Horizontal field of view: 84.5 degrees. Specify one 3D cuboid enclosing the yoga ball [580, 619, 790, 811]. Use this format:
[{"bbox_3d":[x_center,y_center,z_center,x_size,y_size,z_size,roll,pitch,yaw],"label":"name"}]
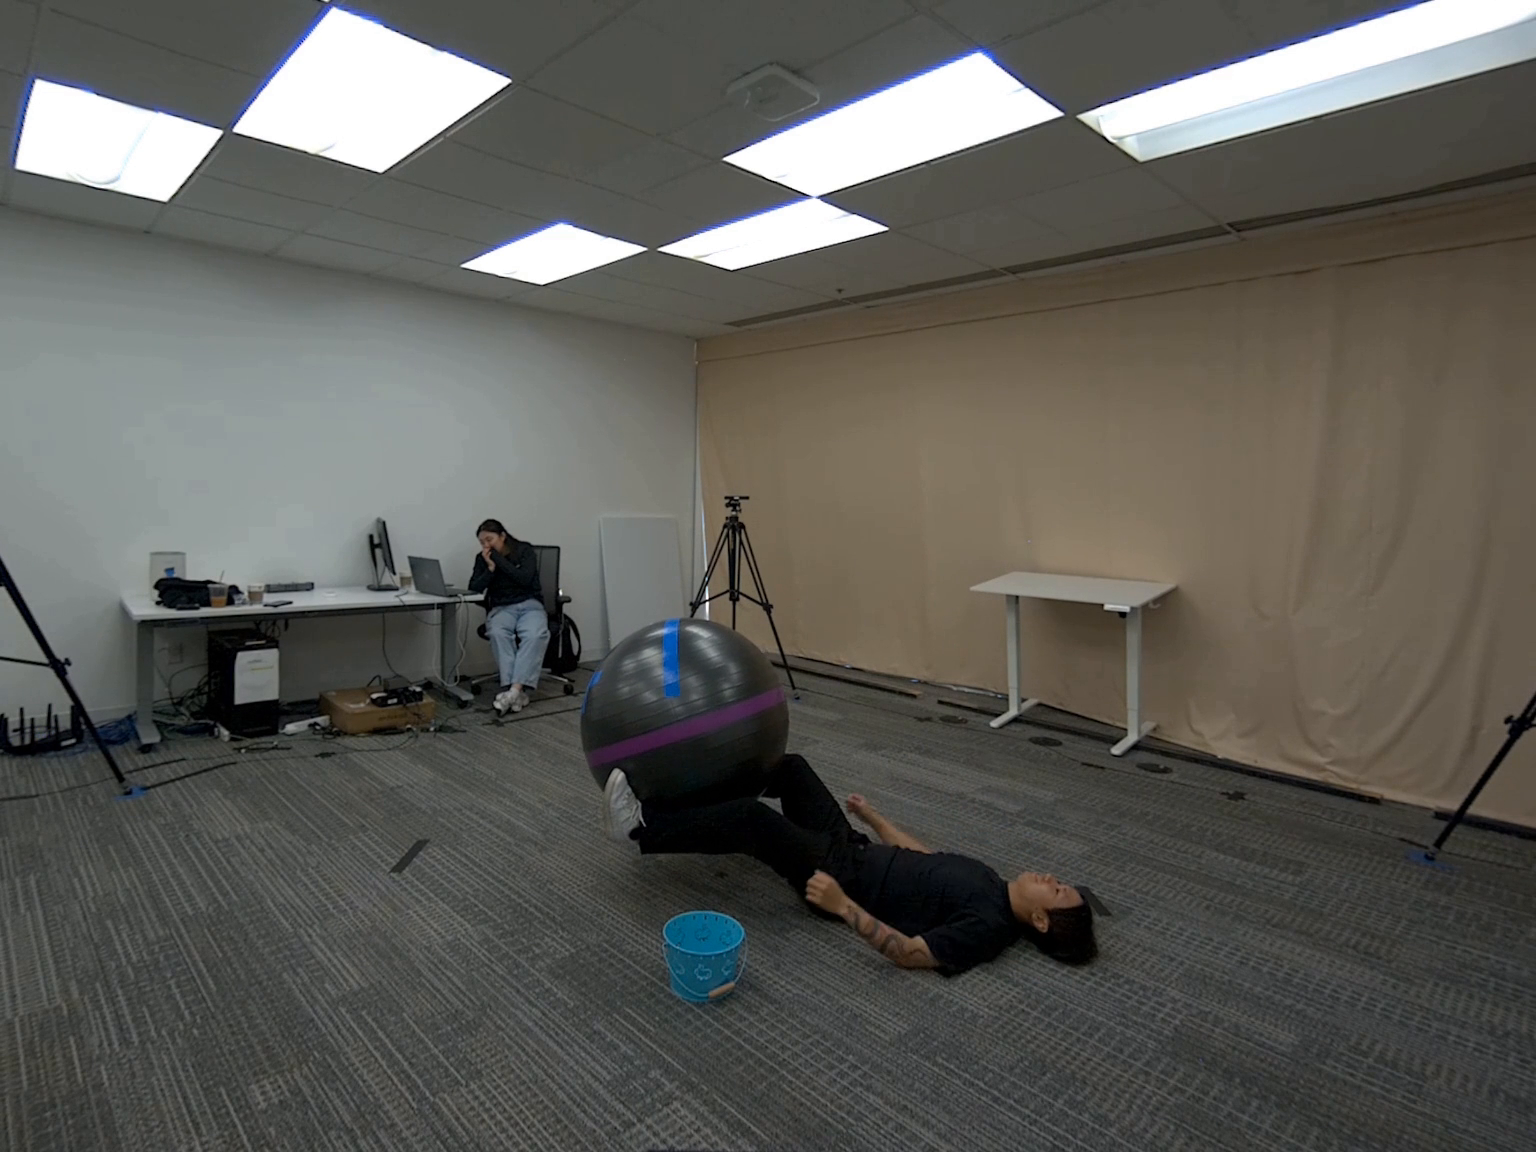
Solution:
[{"bbox_3d":[-0.306,0.542,3.098,0.757,0.756,0.761,1,4,-1],"label":"yoga ball"}]
